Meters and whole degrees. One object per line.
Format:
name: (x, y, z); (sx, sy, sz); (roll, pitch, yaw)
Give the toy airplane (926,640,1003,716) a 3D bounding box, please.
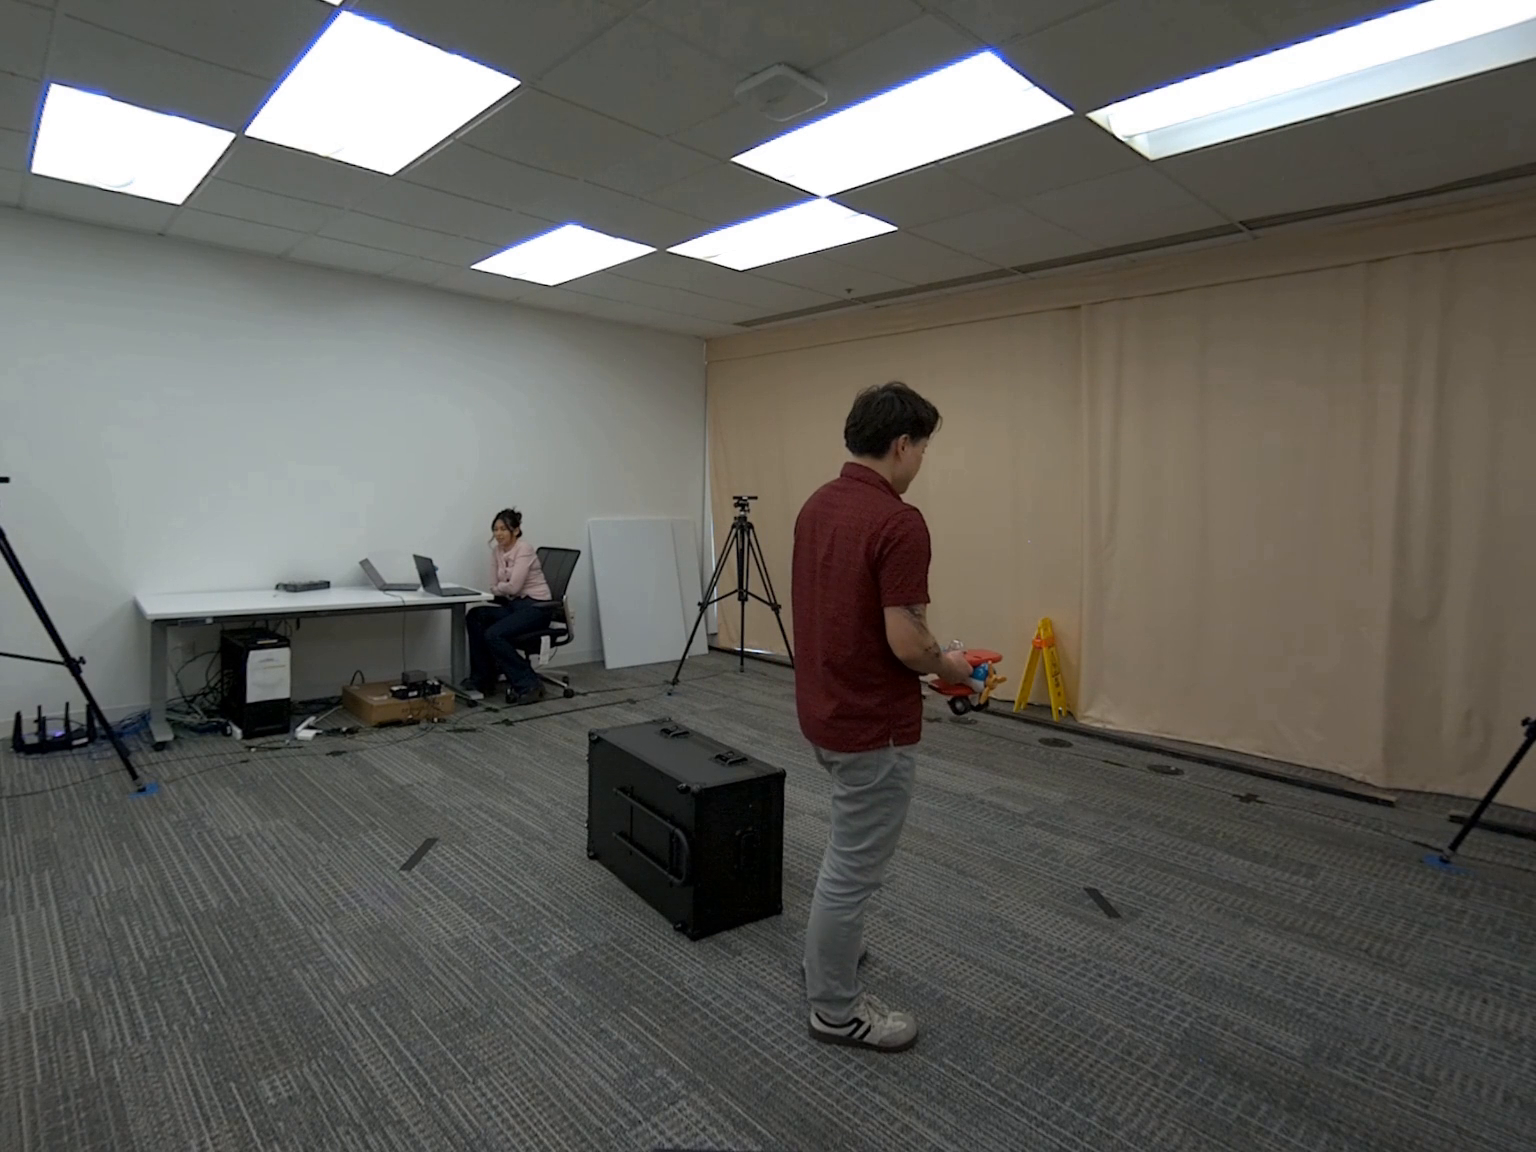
toy airplane: (0.484, 0.254, 2.284); (0.264, 0.155, 0.249); (25, 21, 16)
